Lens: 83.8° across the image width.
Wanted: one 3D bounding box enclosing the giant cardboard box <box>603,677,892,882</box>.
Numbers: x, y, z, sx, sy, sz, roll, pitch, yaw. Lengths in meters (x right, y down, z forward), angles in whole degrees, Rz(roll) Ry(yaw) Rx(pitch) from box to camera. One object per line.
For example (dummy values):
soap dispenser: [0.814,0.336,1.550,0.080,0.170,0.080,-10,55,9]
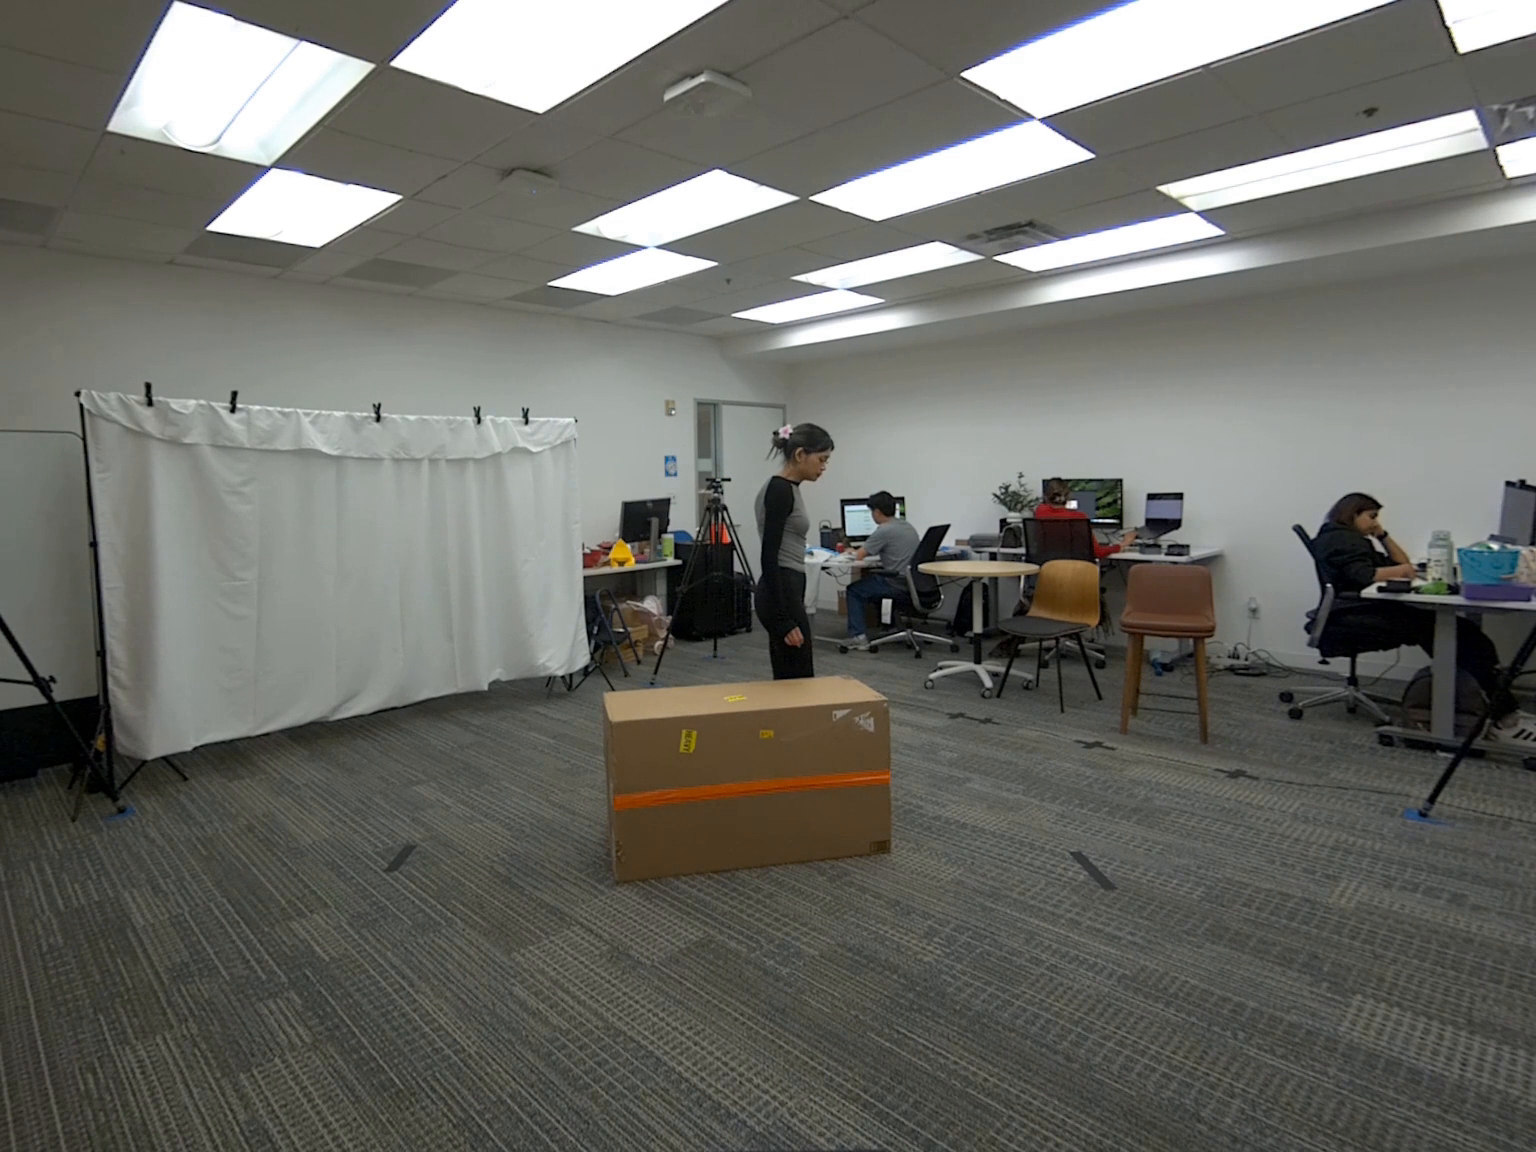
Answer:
giant cardboard box: [-0.096,0.737,3.247,1.014,0.576,0.432,-2,4,-12]
